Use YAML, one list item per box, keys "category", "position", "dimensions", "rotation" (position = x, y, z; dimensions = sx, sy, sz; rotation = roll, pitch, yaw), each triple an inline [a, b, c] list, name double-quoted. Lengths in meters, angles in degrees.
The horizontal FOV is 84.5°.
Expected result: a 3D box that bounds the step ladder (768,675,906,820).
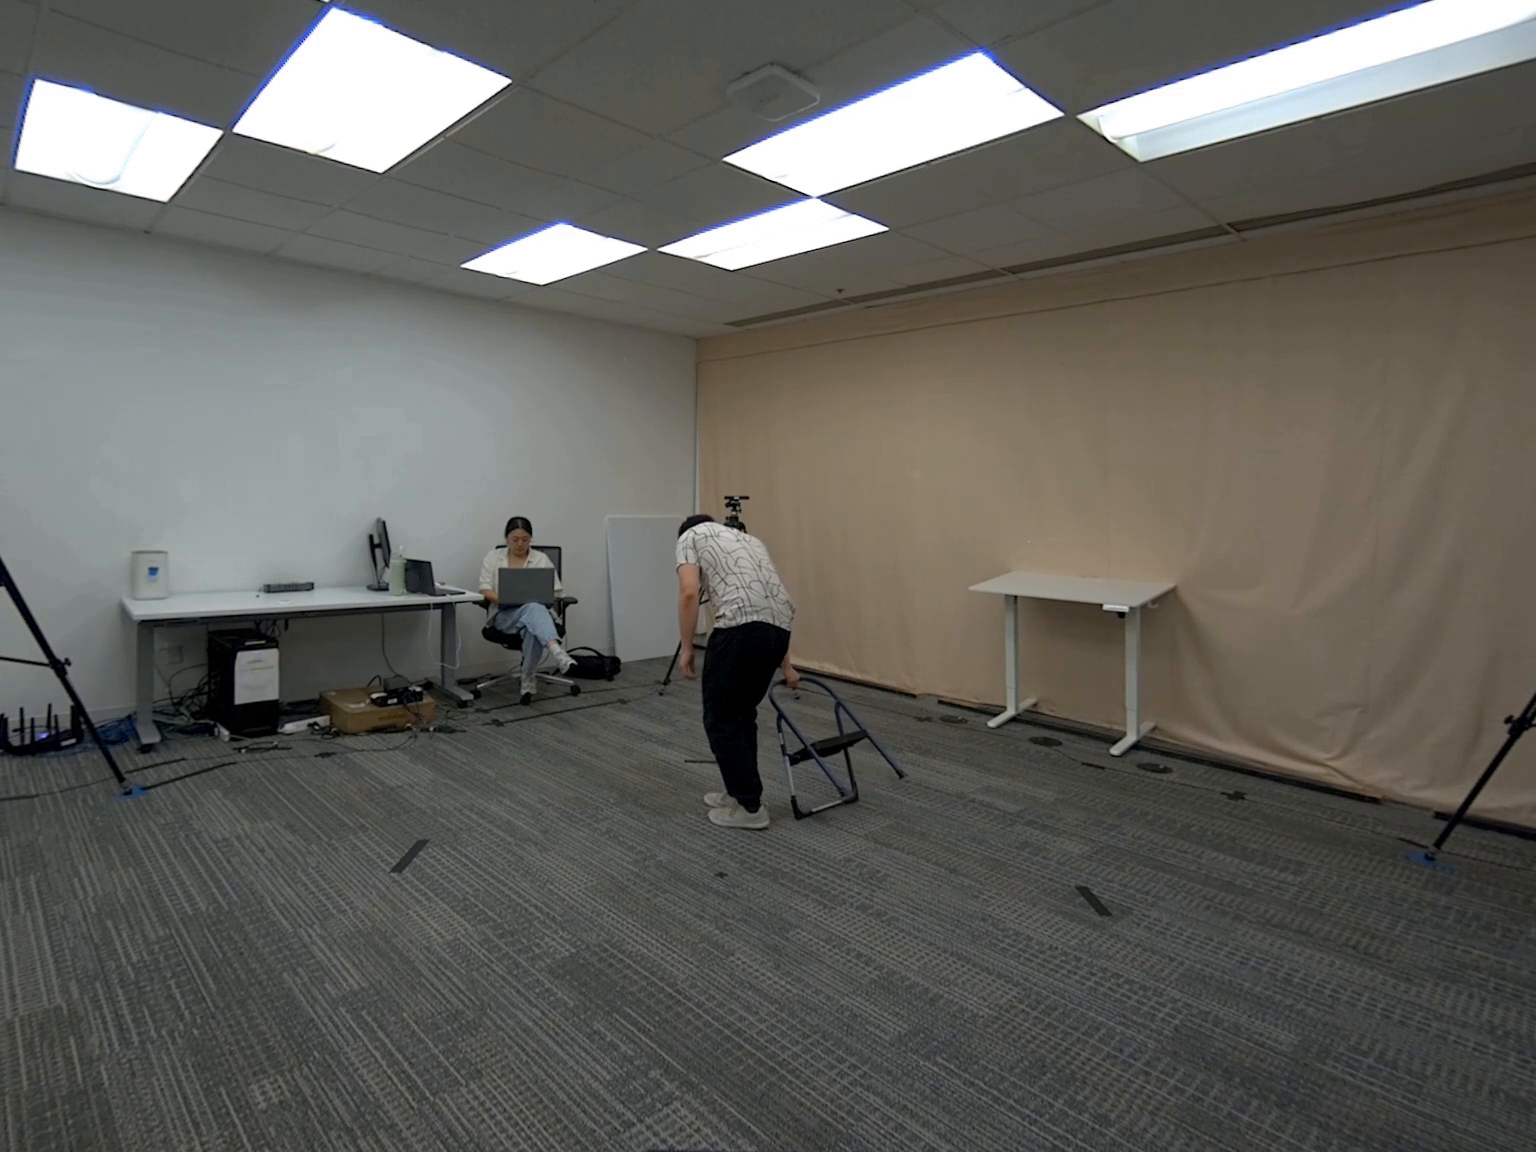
- category: "step ladder"
  position: [0.246, 0.714, 3.813]
  dimensions: [0.420, 0.618, 0.350]
  rotation: [-1, -29, -44]
